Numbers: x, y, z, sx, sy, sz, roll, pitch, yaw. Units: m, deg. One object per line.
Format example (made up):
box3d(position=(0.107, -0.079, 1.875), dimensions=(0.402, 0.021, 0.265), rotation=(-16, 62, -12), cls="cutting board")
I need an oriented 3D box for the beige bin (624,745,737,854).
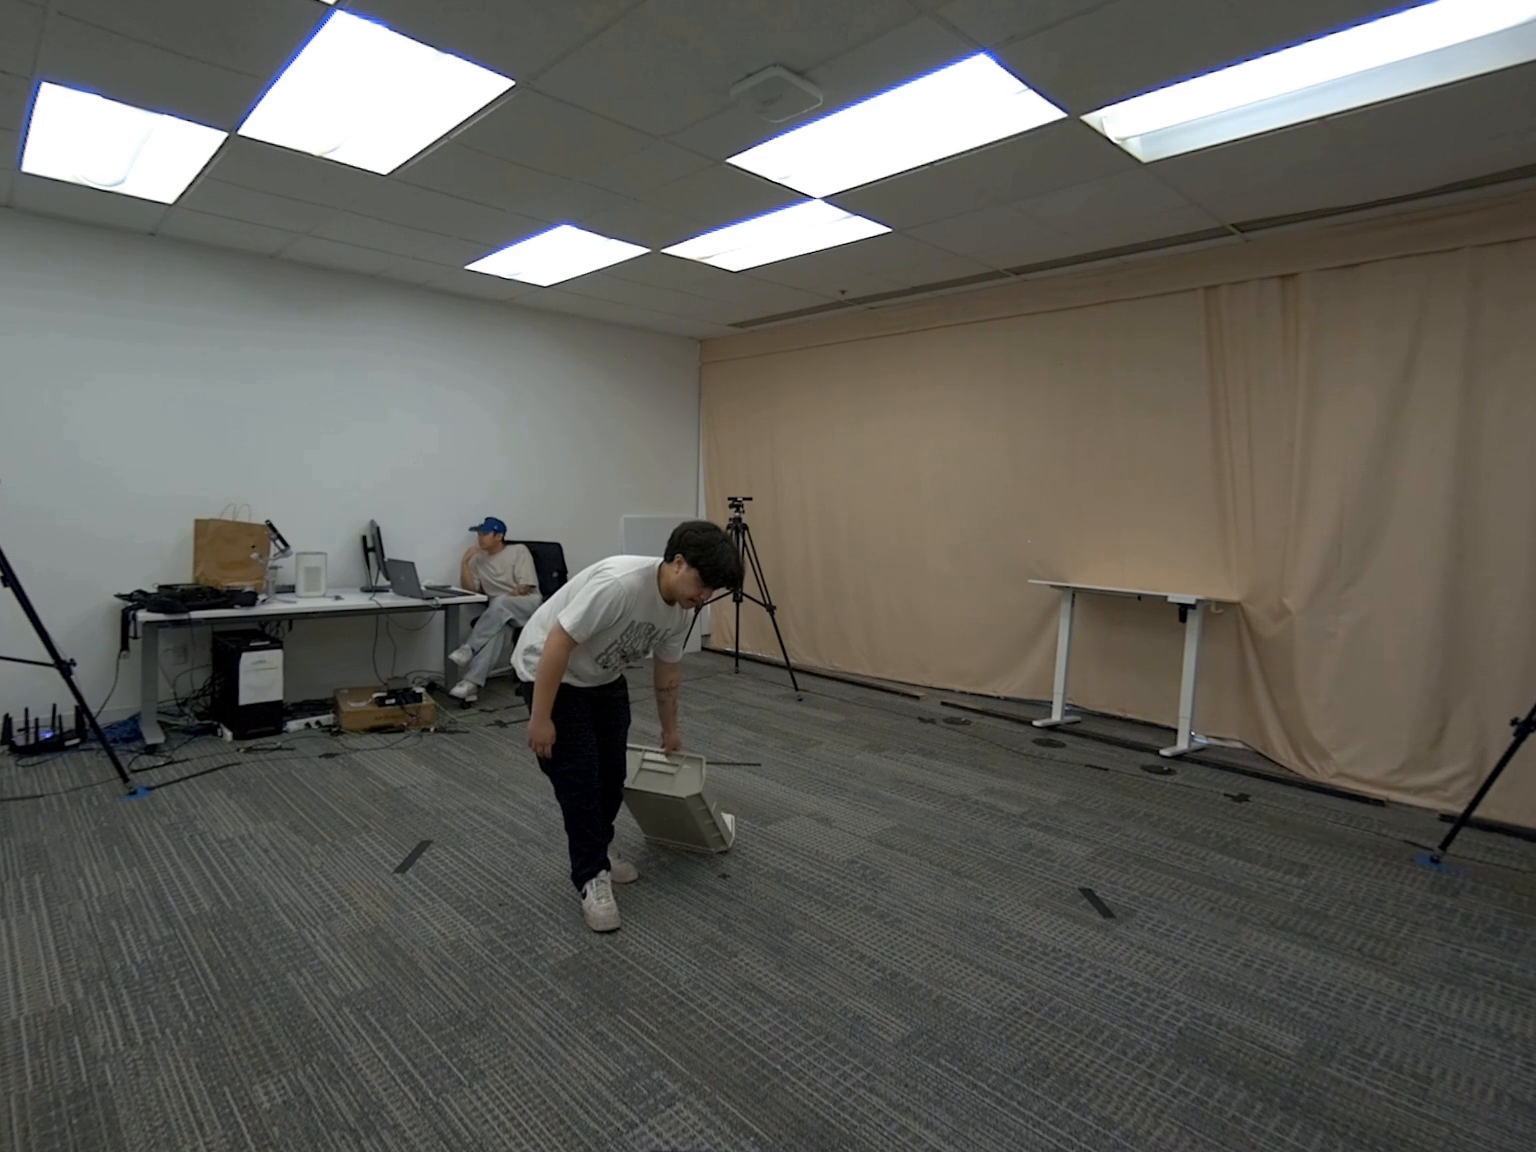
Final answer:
box3d(position=(-0.361, 0.875, 3.265), dimensions=(0.384, 0.410, 0.191), rotation=(2, 46, 22), cls="beige bin")
